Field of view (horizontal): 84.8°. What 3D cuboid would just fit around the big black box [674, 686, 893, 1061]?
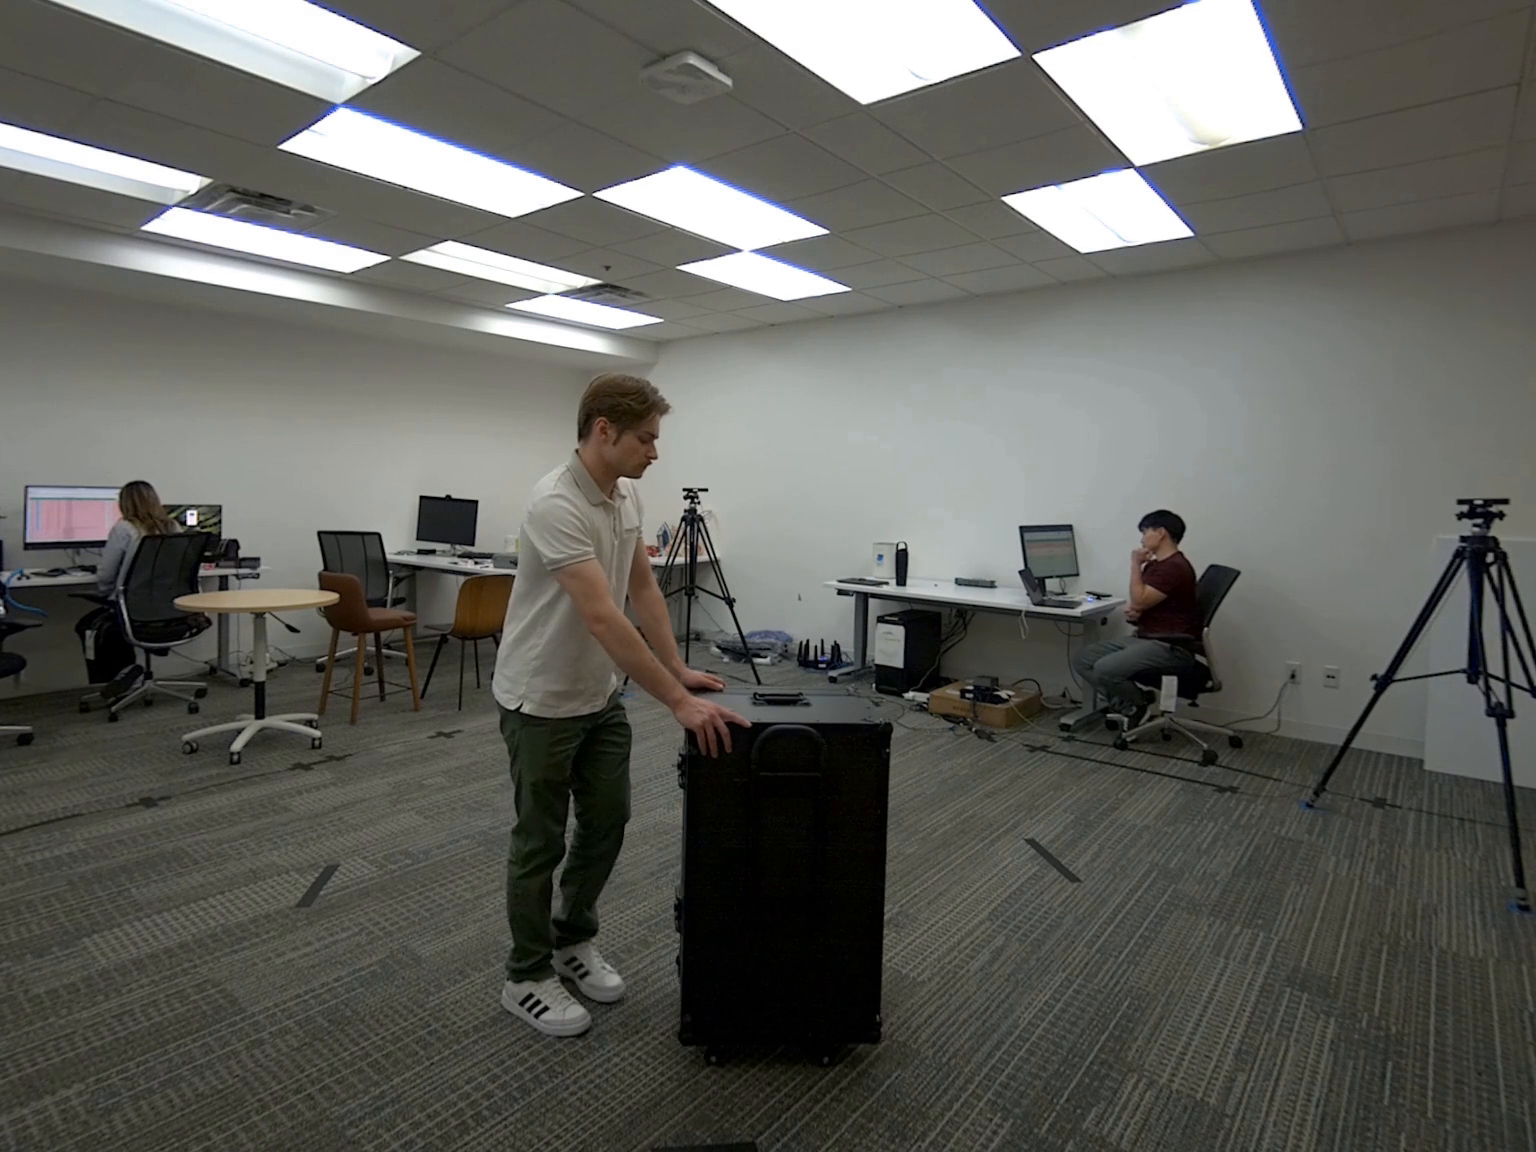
[{"bbox_3d":[0.020,0.749,2.170,0.520,0.865,0.389,1,4,-6],"label":"big black box"}]
